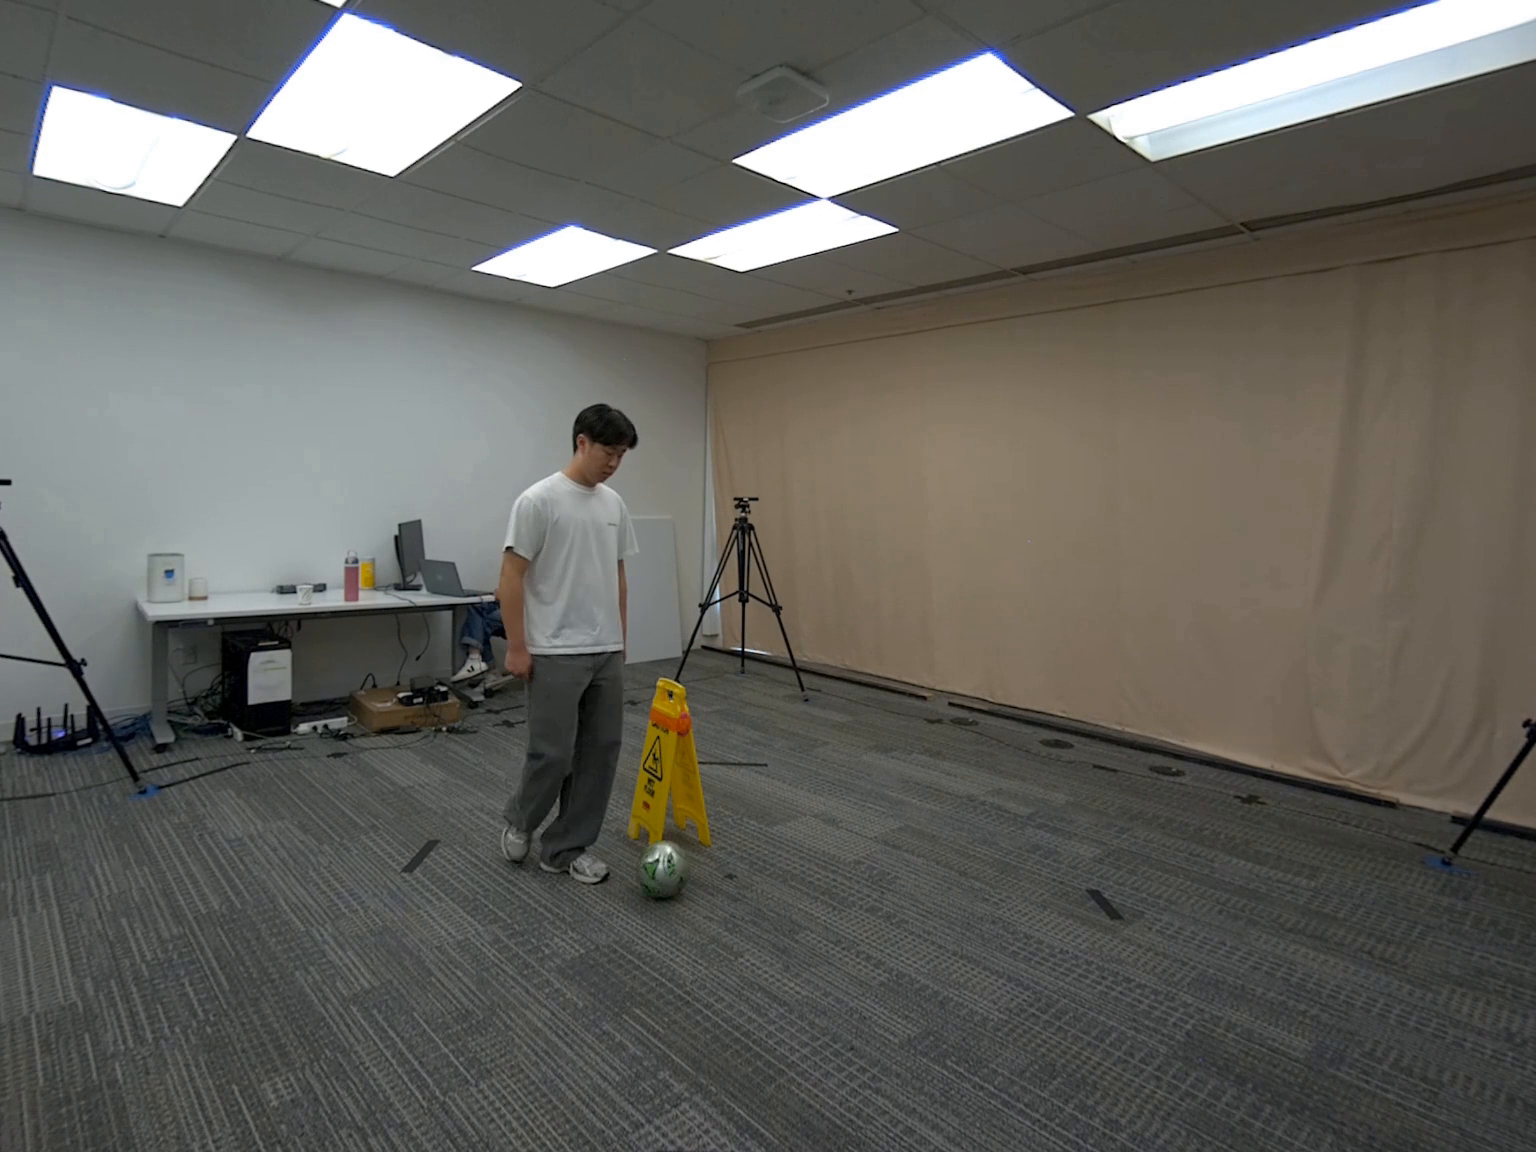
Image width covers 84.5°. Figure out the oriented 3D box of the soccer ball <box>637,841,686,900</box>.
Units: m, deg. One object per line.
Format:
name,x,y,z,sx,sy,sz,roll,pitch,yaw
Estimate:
soccer ball,-0.381,1.031,2.929,0.187,0.187,0.188,1,4,-1
